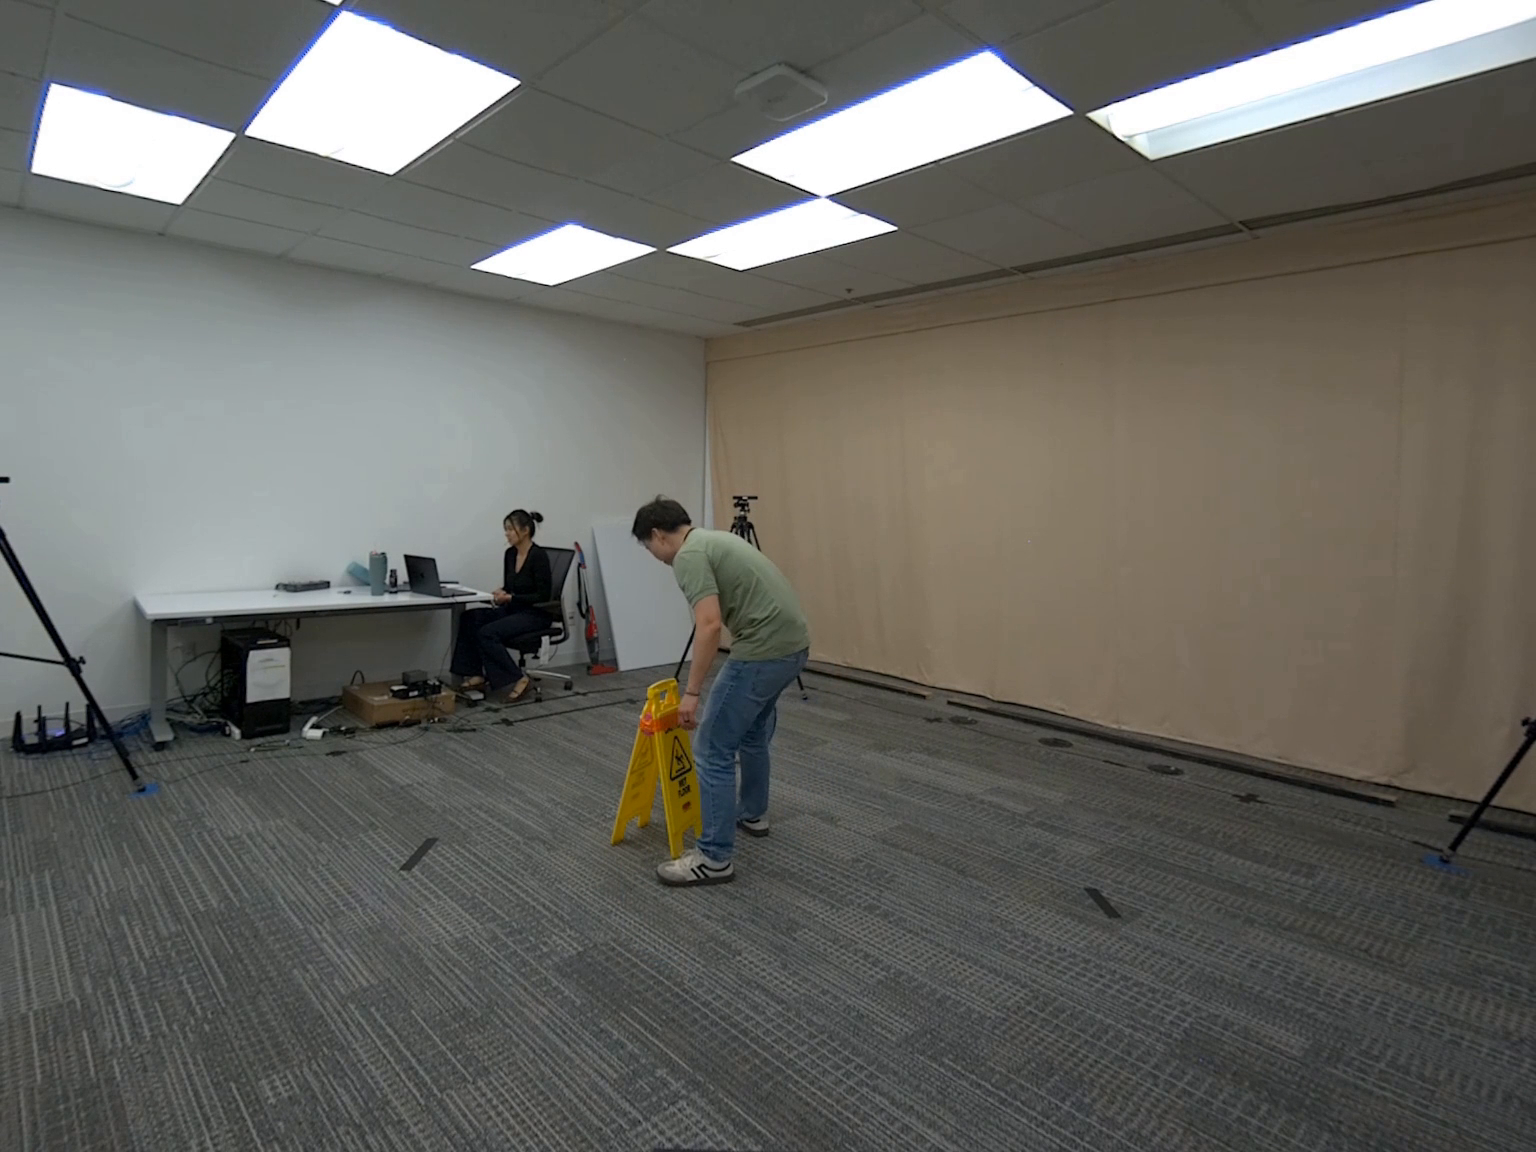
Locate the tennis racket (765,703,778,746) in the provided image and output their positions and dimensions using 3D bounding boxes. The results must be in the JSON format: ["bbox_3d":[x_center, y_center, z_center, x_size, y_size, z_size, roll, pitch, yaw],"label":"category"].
[{"bbox_3d":[-0.035,0.589,3.721,0.032,0.432,0.208,8,5,40],"label":"tennis racket"}]
